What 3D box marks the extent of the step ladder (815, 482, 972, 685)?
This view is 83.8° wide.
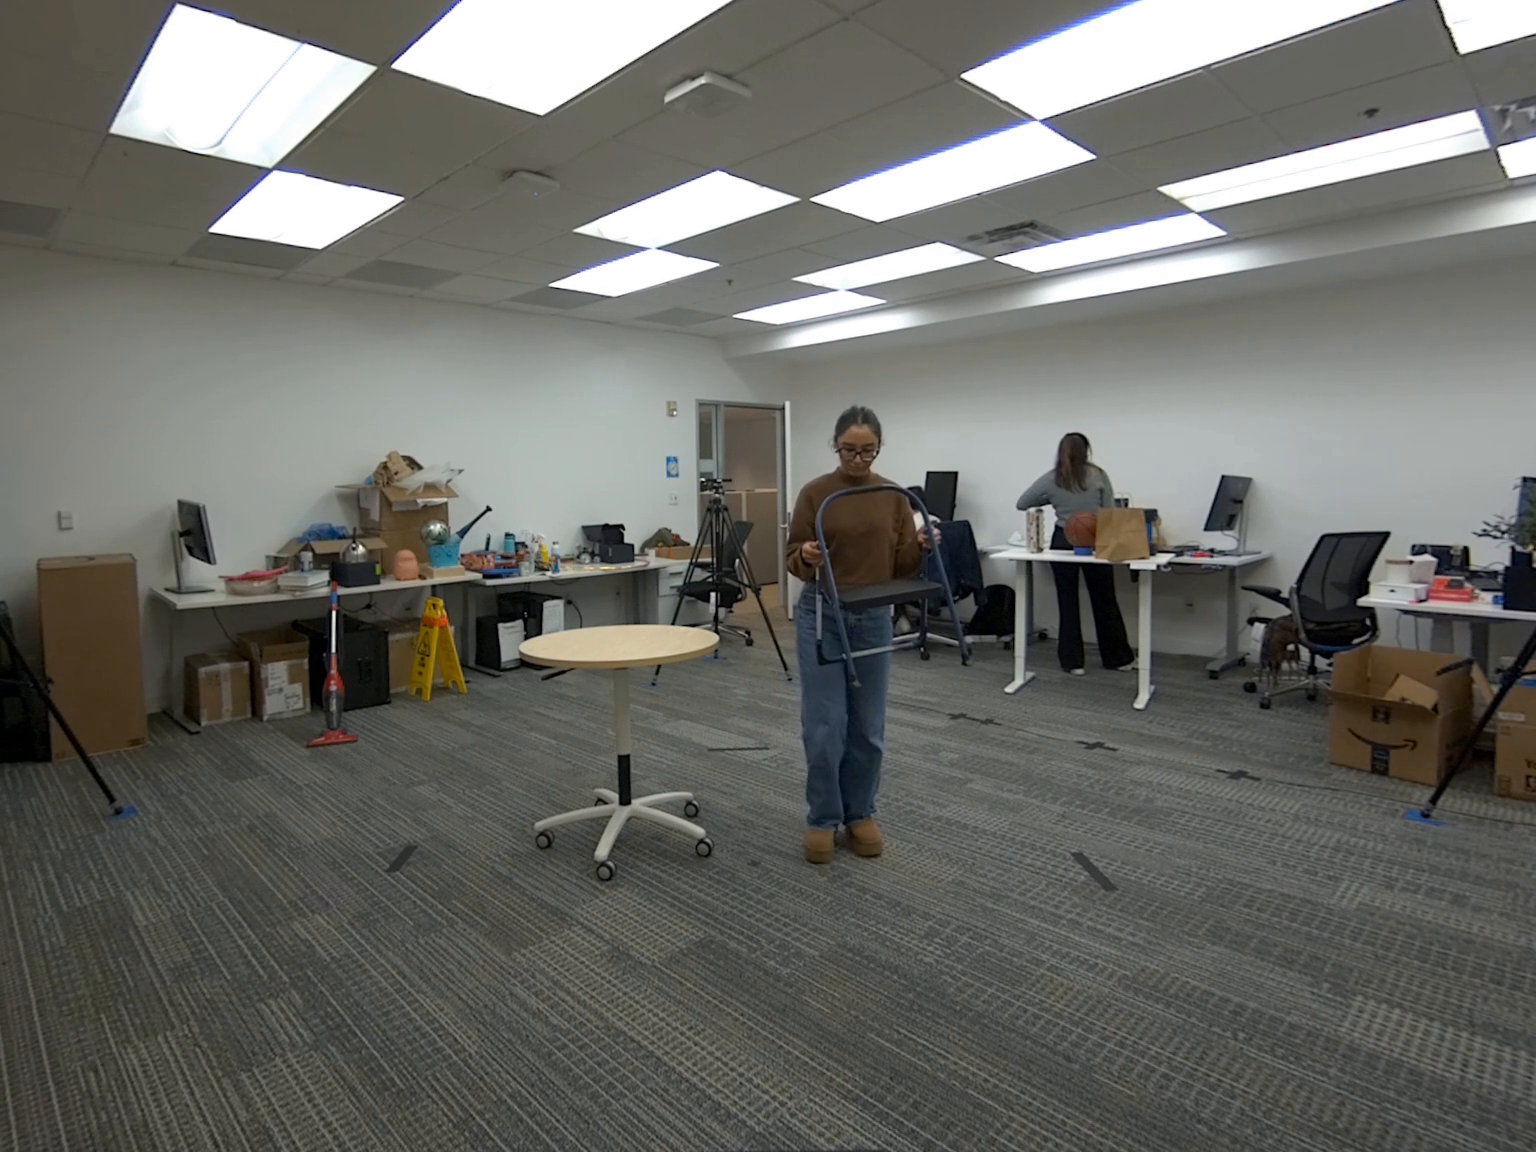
[{"bbox_3d":[0.382,0.006,2.870,0.425,0.603,0.356,-8,6,-16],"label":"step ladder"}]
